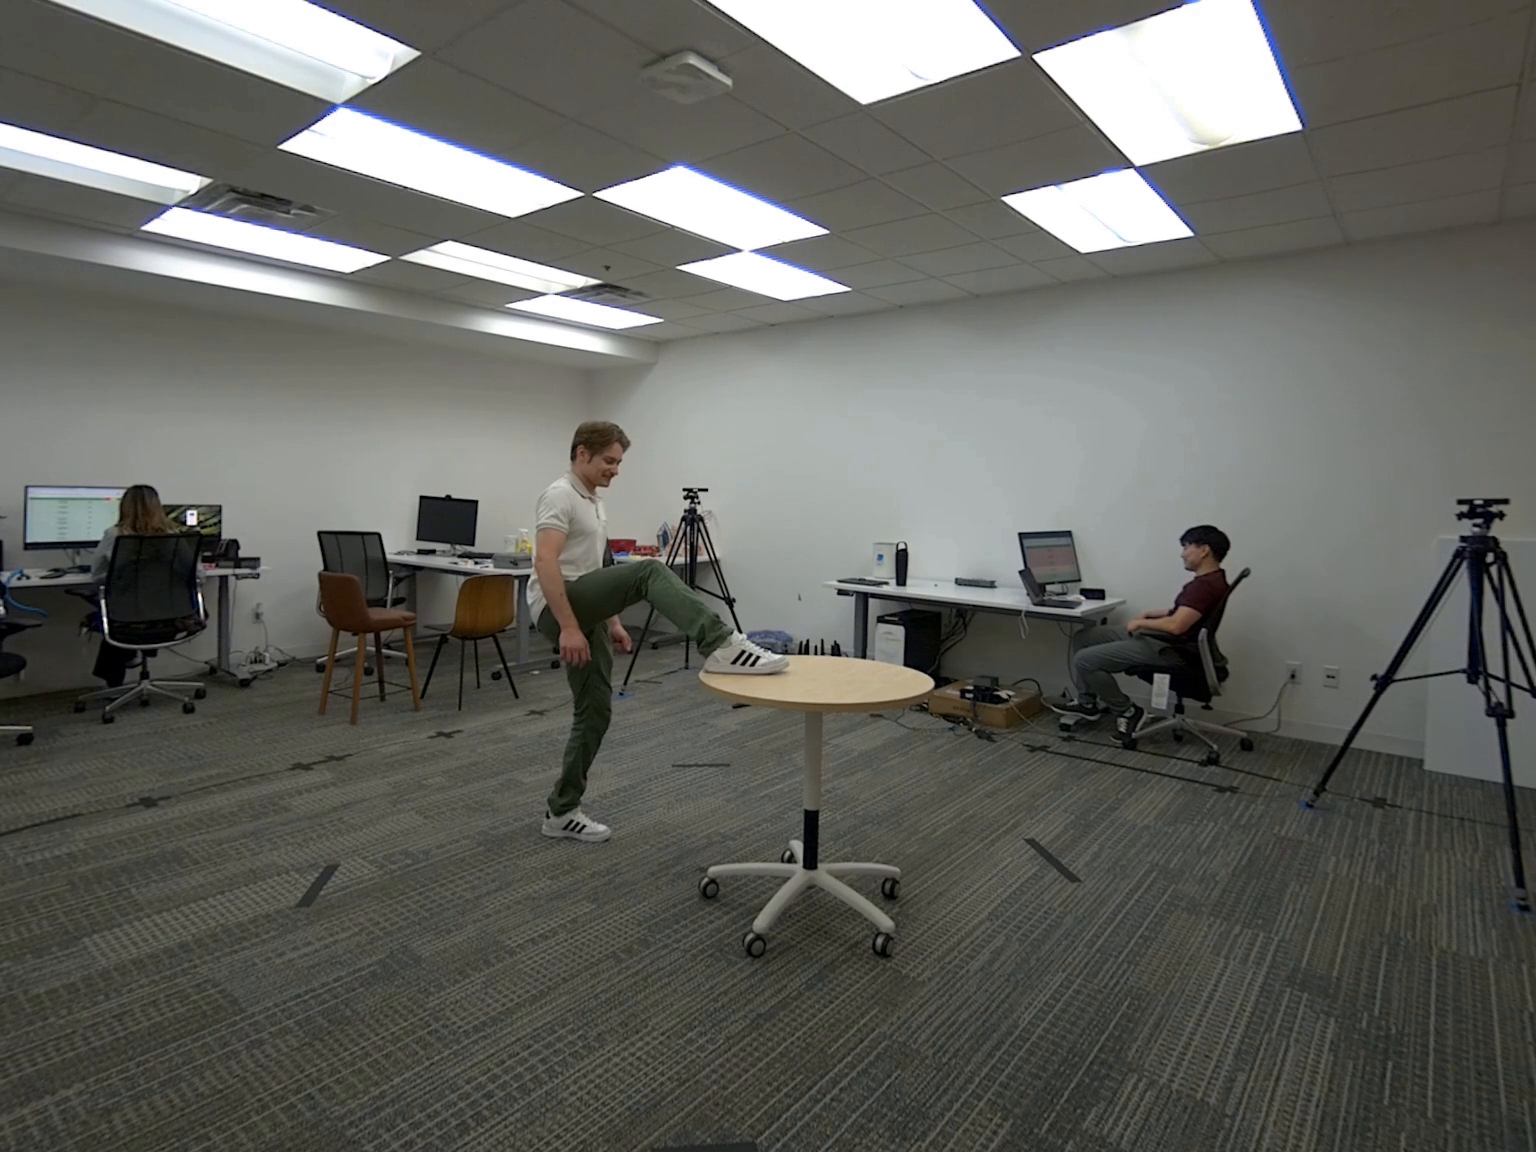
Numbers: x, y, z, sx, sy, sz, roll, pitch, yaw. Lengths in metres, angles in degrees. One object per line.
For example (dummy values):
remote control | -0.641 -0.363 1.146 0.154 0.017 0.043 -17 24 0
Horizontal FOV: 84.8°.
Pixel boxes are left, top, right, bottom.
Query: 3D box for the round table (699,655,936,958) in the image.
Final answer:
round table | 0.137 0.720 2.809 0.763 0.792 0.767 1 4 -2
